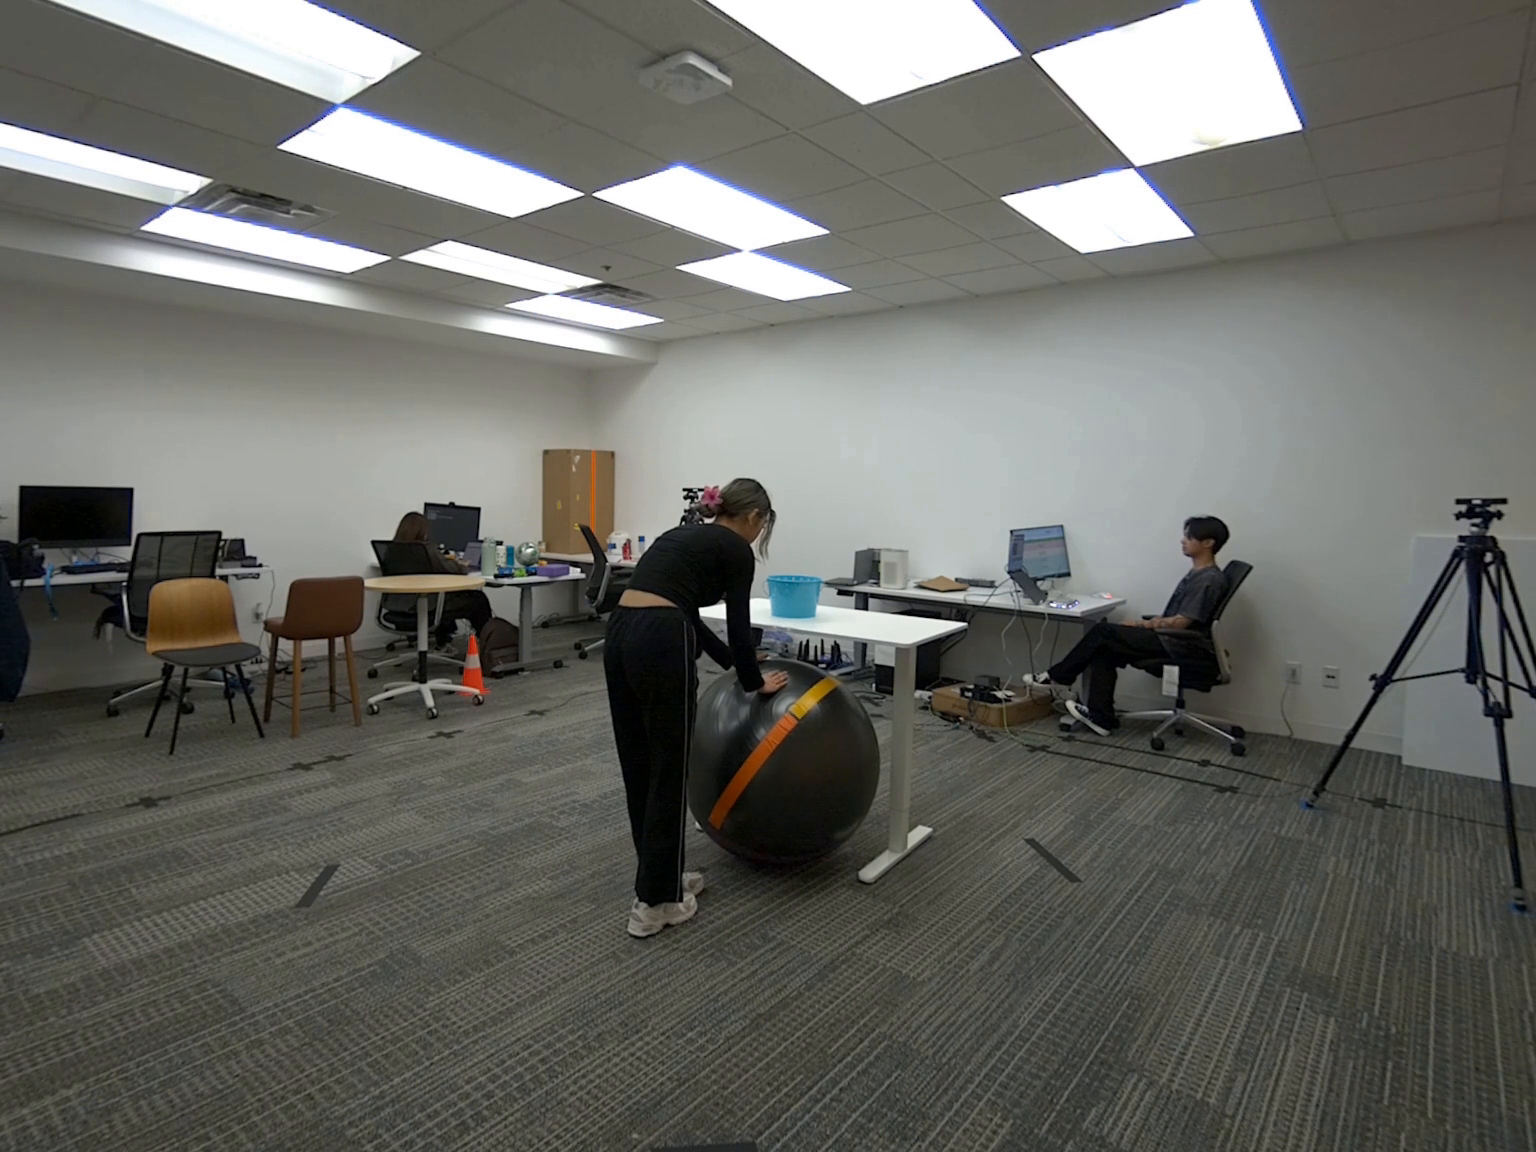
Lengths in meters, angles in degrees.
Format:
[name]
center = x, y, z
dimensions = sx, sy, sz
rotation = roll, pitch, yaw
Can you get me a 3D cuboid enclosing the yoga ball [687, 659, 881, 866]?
[yoga ball]
center = 0.038, 0.692, 3.224
dimensions = 0.757, 0.756, 0.761
rotation = 1, 4, -2
